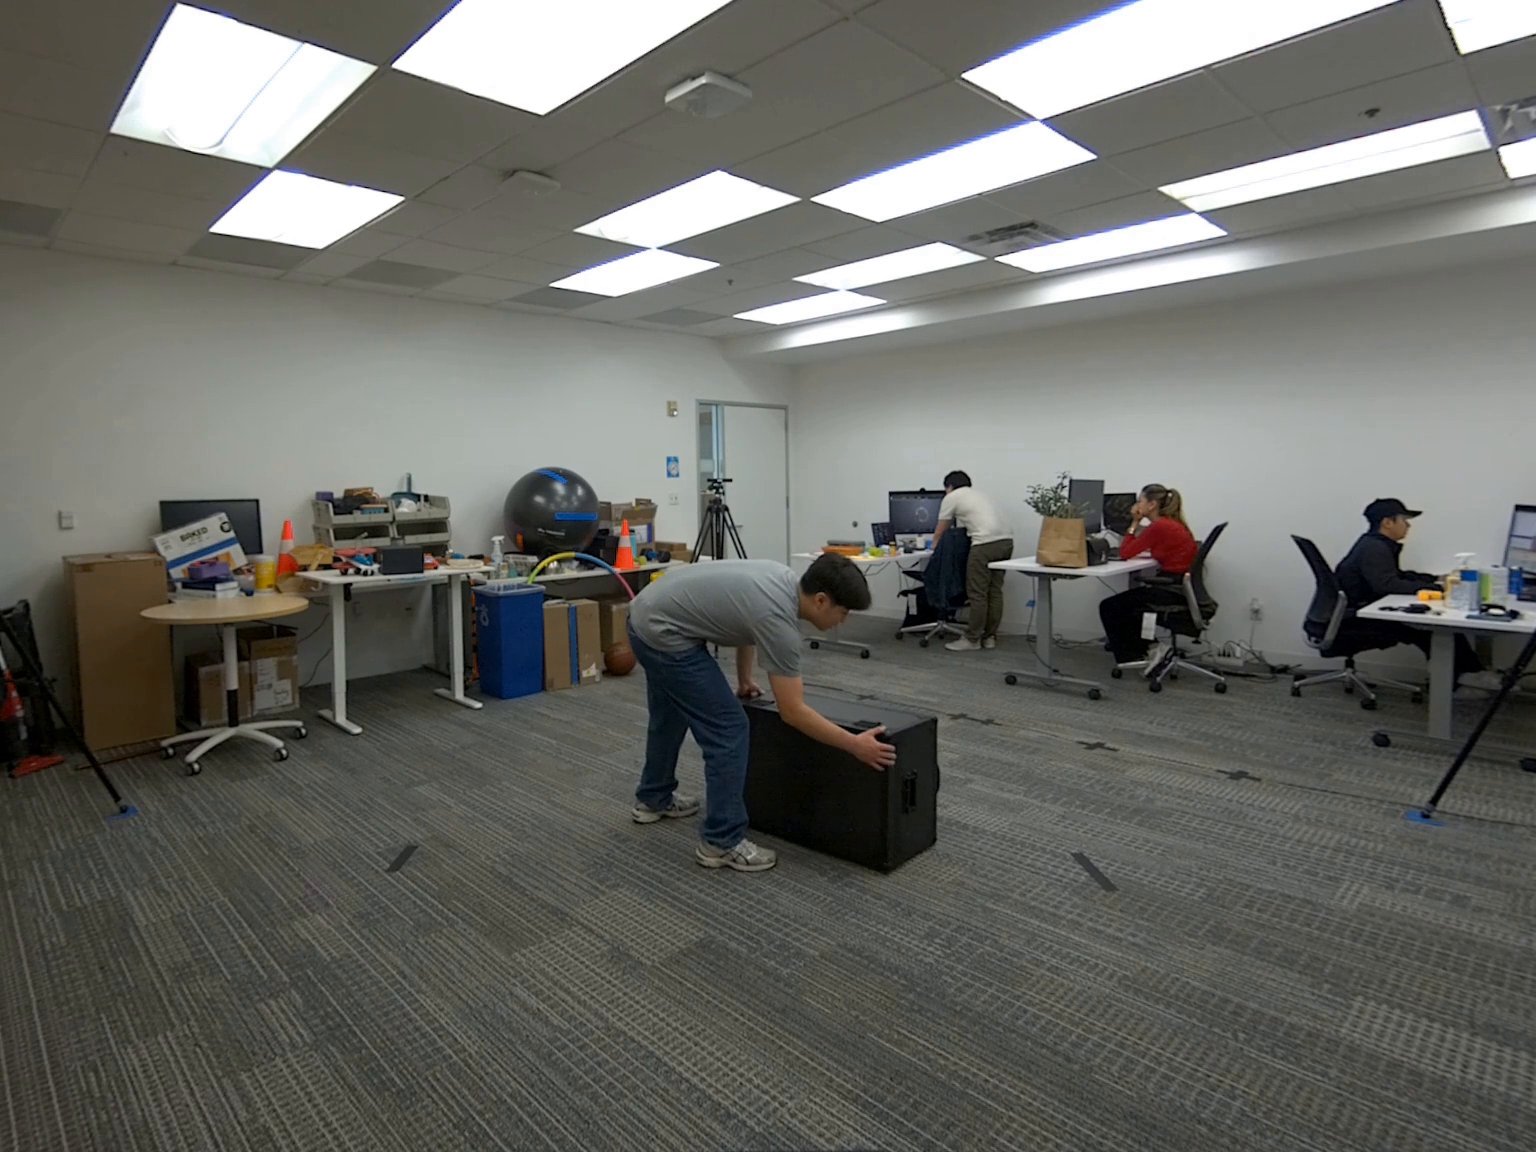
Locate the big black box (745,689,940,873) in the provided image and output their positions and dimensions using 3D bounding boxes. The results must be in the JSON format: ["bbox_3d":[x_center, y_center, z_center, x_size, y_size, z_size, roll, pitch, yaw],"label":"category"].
[{"bbox_3d":[0.212,0.755,3.394,0.888,0.520,0.385,4,4,41],"label":"big black box"}]
